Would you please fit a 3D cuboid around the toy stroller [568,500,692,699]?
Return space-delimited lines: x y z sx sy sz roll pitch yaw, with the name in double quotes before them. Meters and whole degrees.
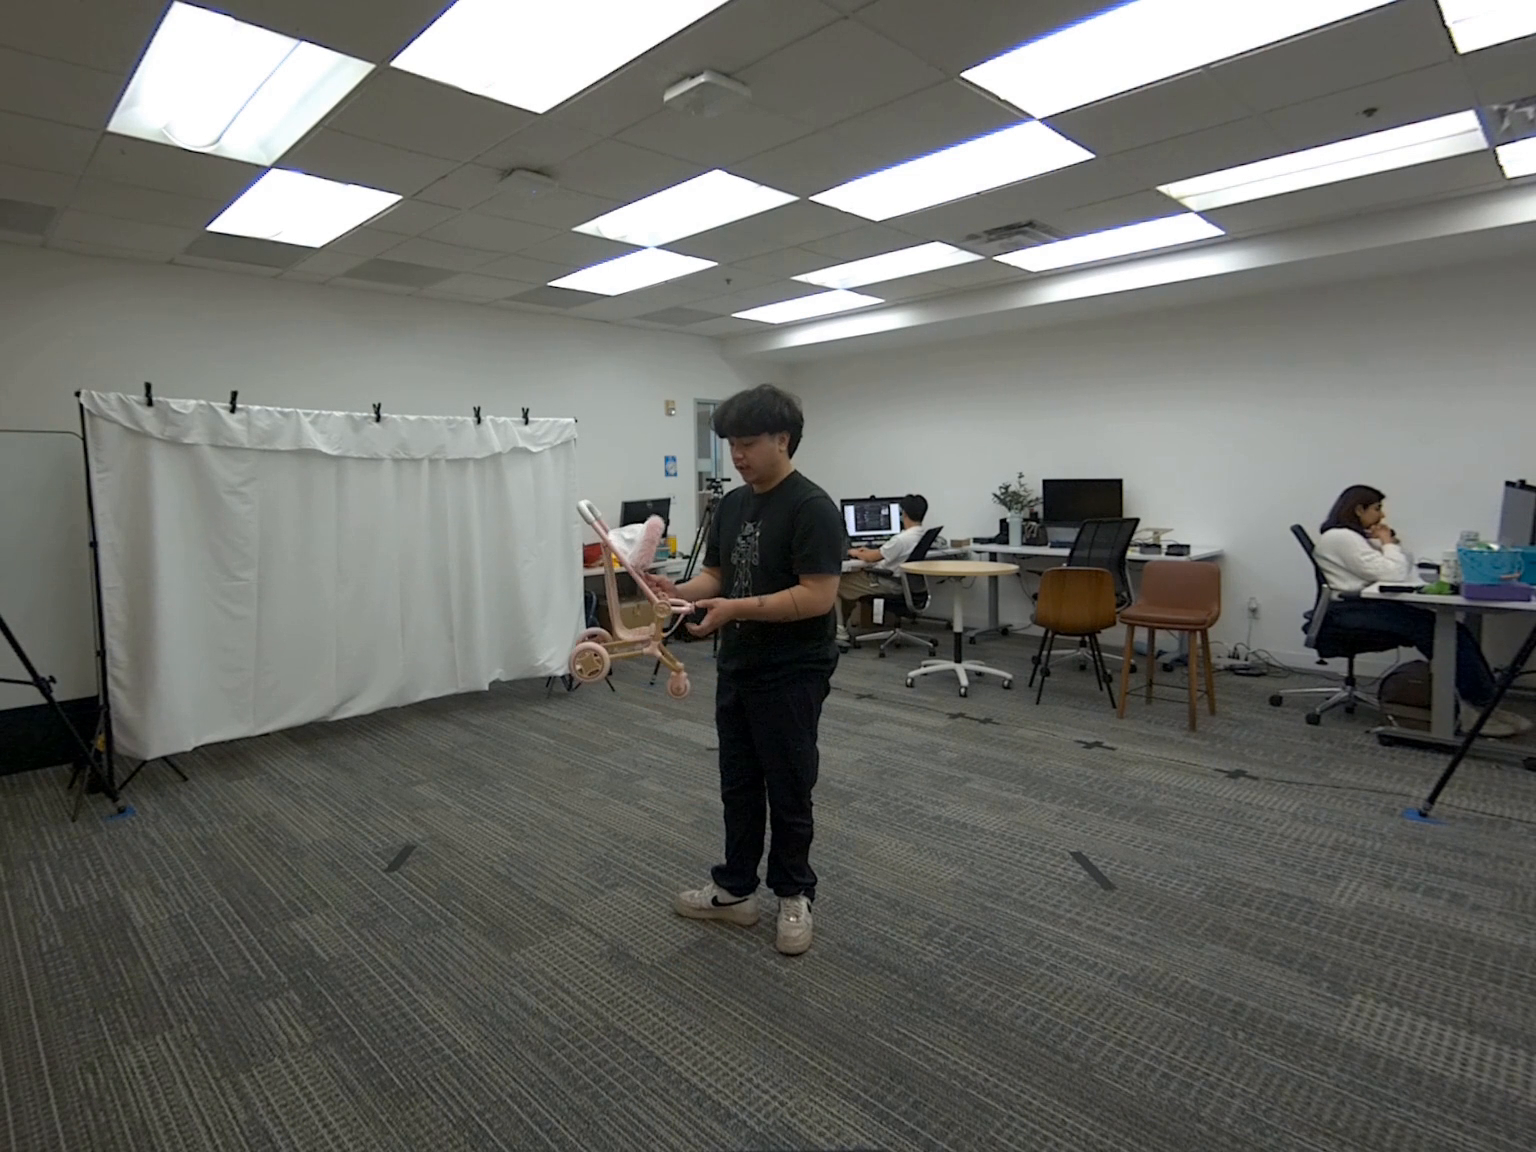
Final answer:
"toy stroller" -0.360 0.073 2.345 0.341 0.534 0.282 3 2 -2
